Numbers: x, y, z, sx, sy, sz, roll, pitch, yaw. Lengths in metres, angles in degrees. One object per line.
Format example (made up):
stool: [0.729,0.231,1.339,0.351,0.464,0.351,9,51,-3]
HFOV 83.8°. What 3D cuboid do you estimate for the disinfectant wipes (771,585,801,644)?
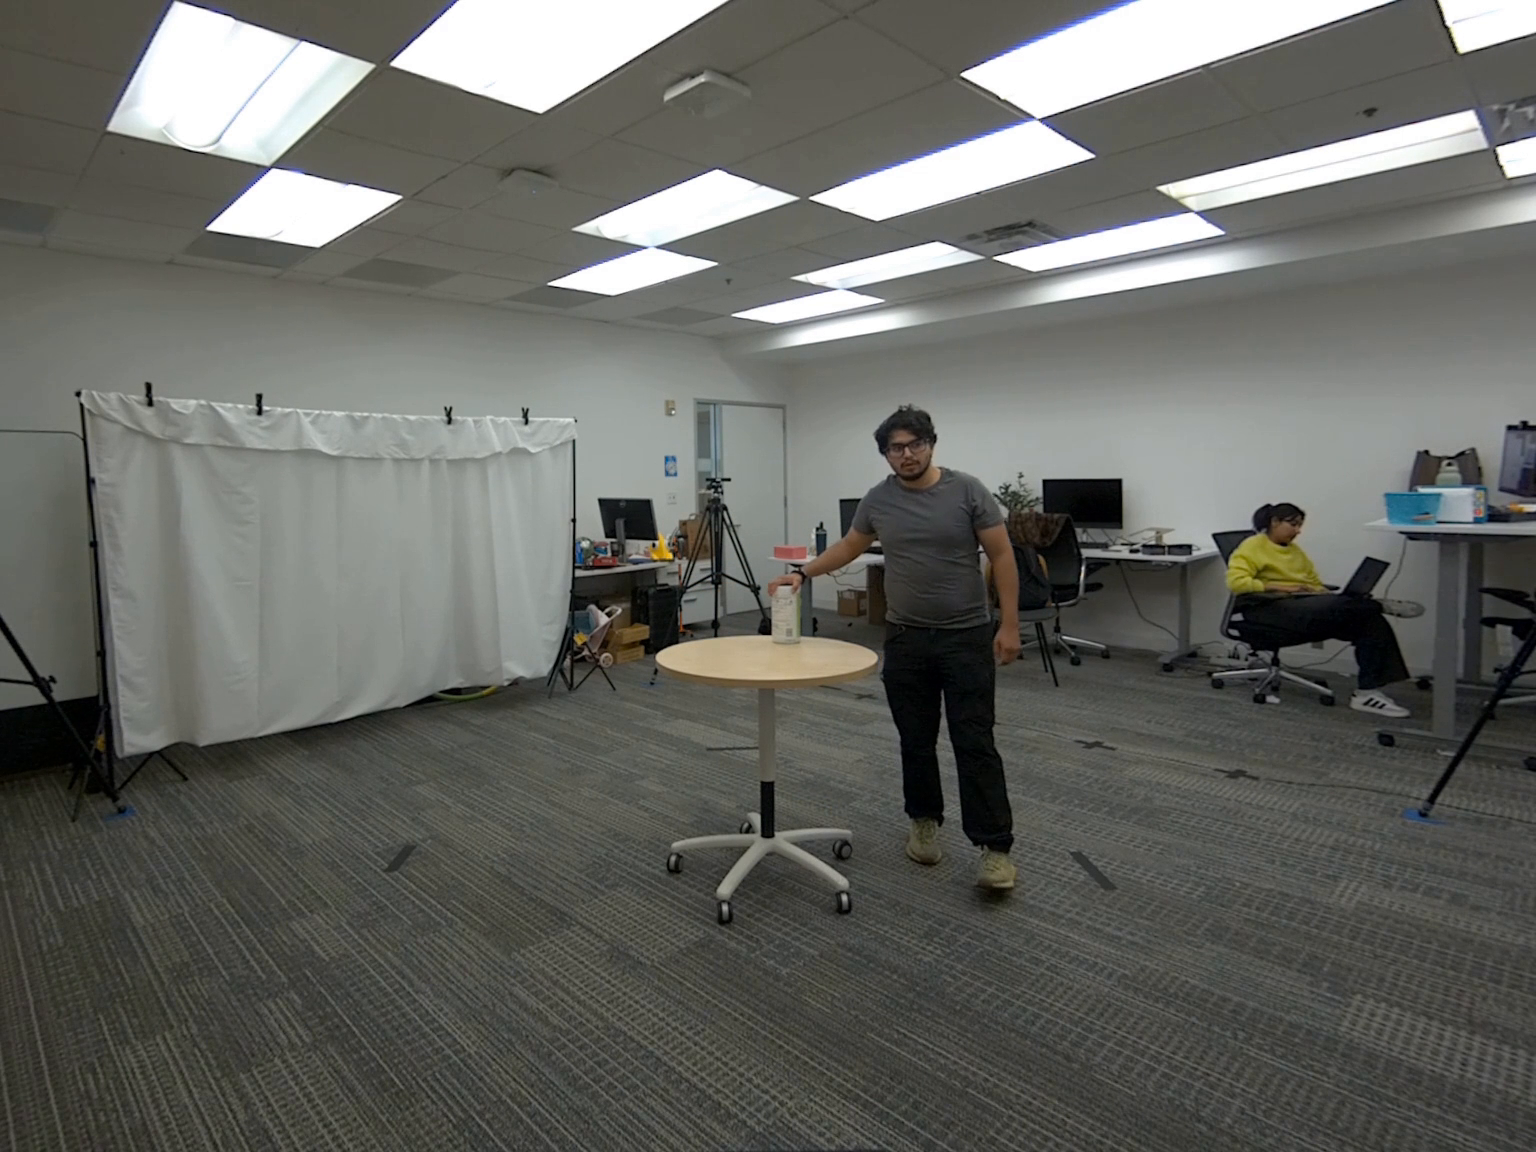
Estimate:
disinfectant wipes: [0.076,0.140,3.211,0.118,0.217,0.118,0,1,-2]
